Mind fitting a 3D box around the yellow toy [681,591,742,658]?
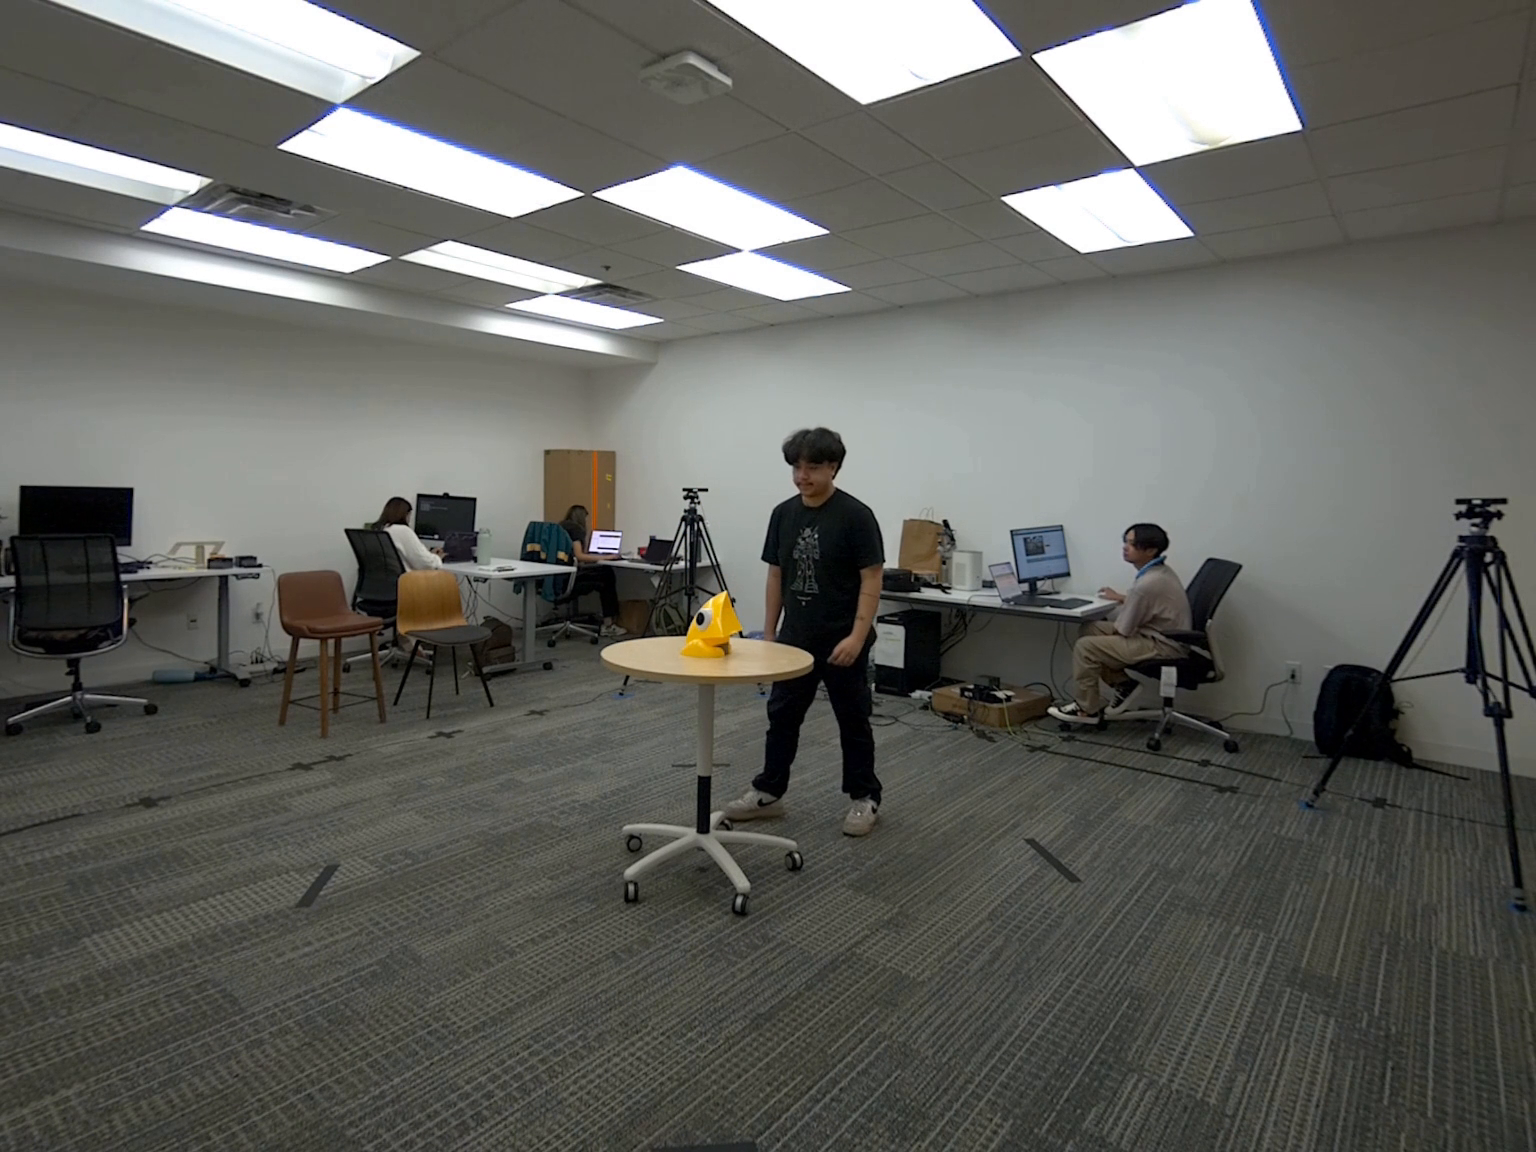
[{"bbox_3d":[-0.221,0.165,3.093,0.197,0.230,0.201,2,3,20],"label":"yellow toy"}]
